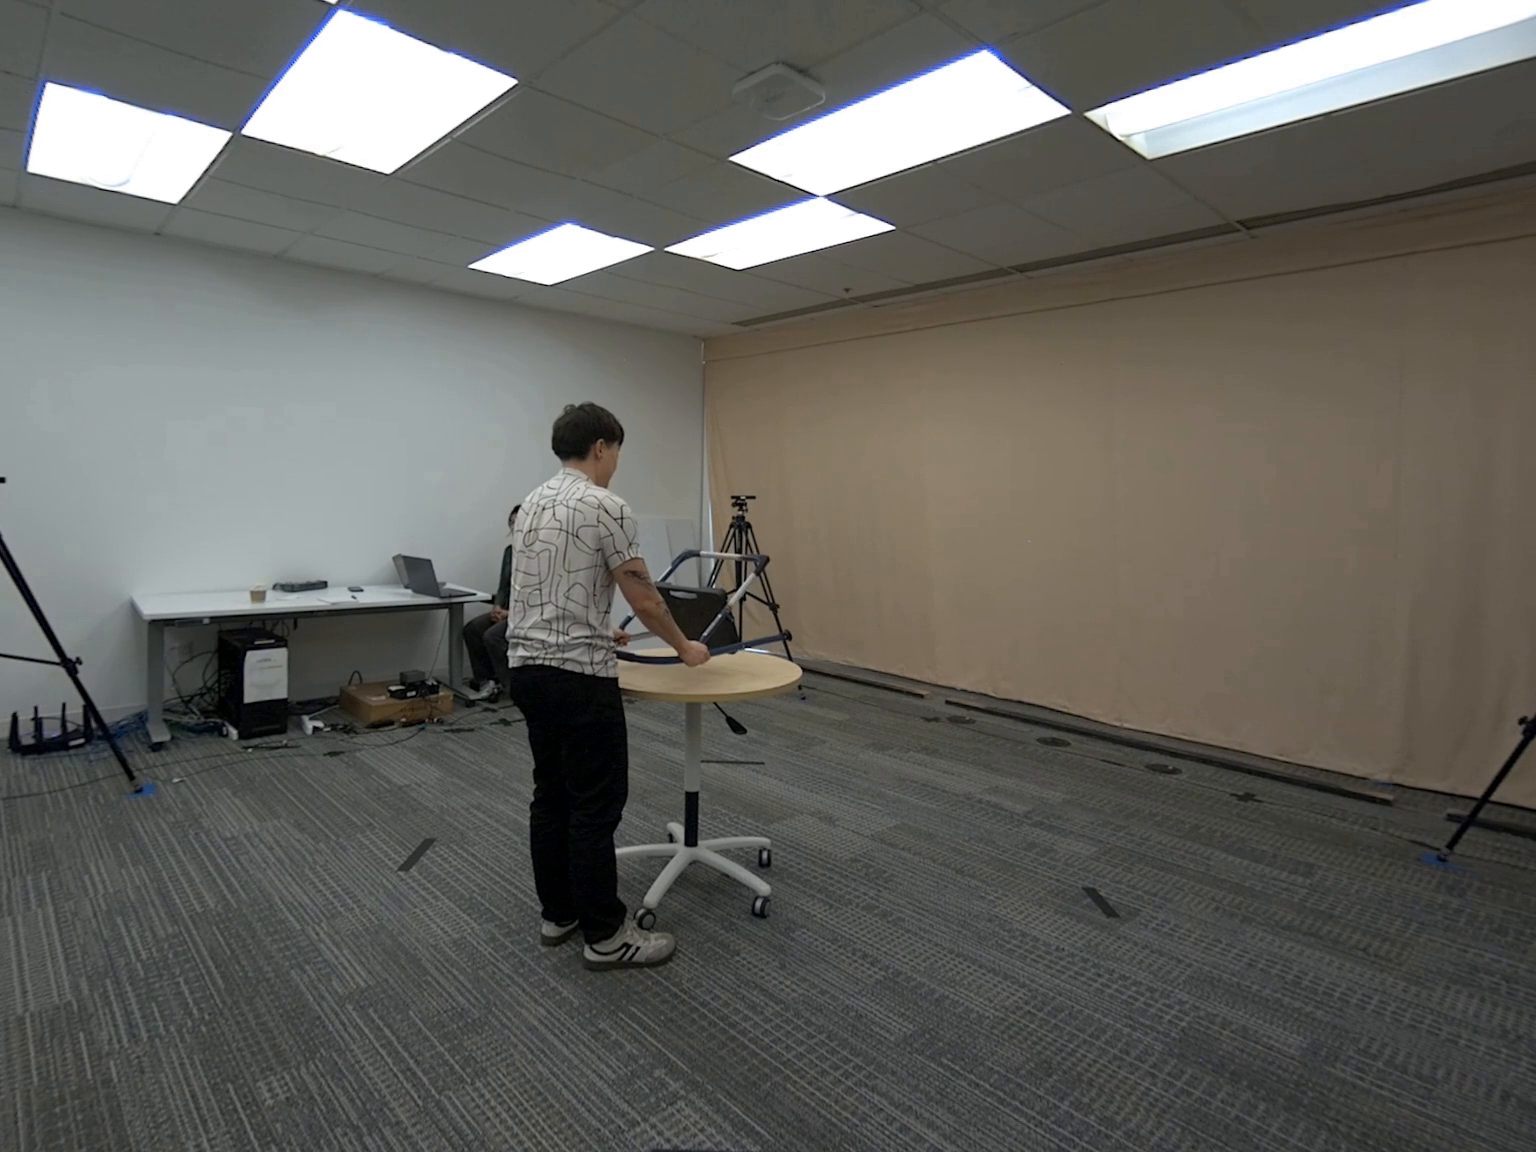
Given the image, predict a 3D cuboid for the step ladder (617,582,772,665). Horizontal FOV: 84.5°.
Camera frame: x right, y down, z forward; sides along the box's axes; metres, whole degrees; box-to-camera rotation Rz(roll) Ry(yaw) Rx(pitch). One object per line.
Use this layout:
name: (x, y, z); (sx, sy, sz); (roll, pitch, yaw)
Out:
step ladder: (-0.290, 0.194, 2.936); (0.441, 0.343, 0.602); (4, 28, 39)
